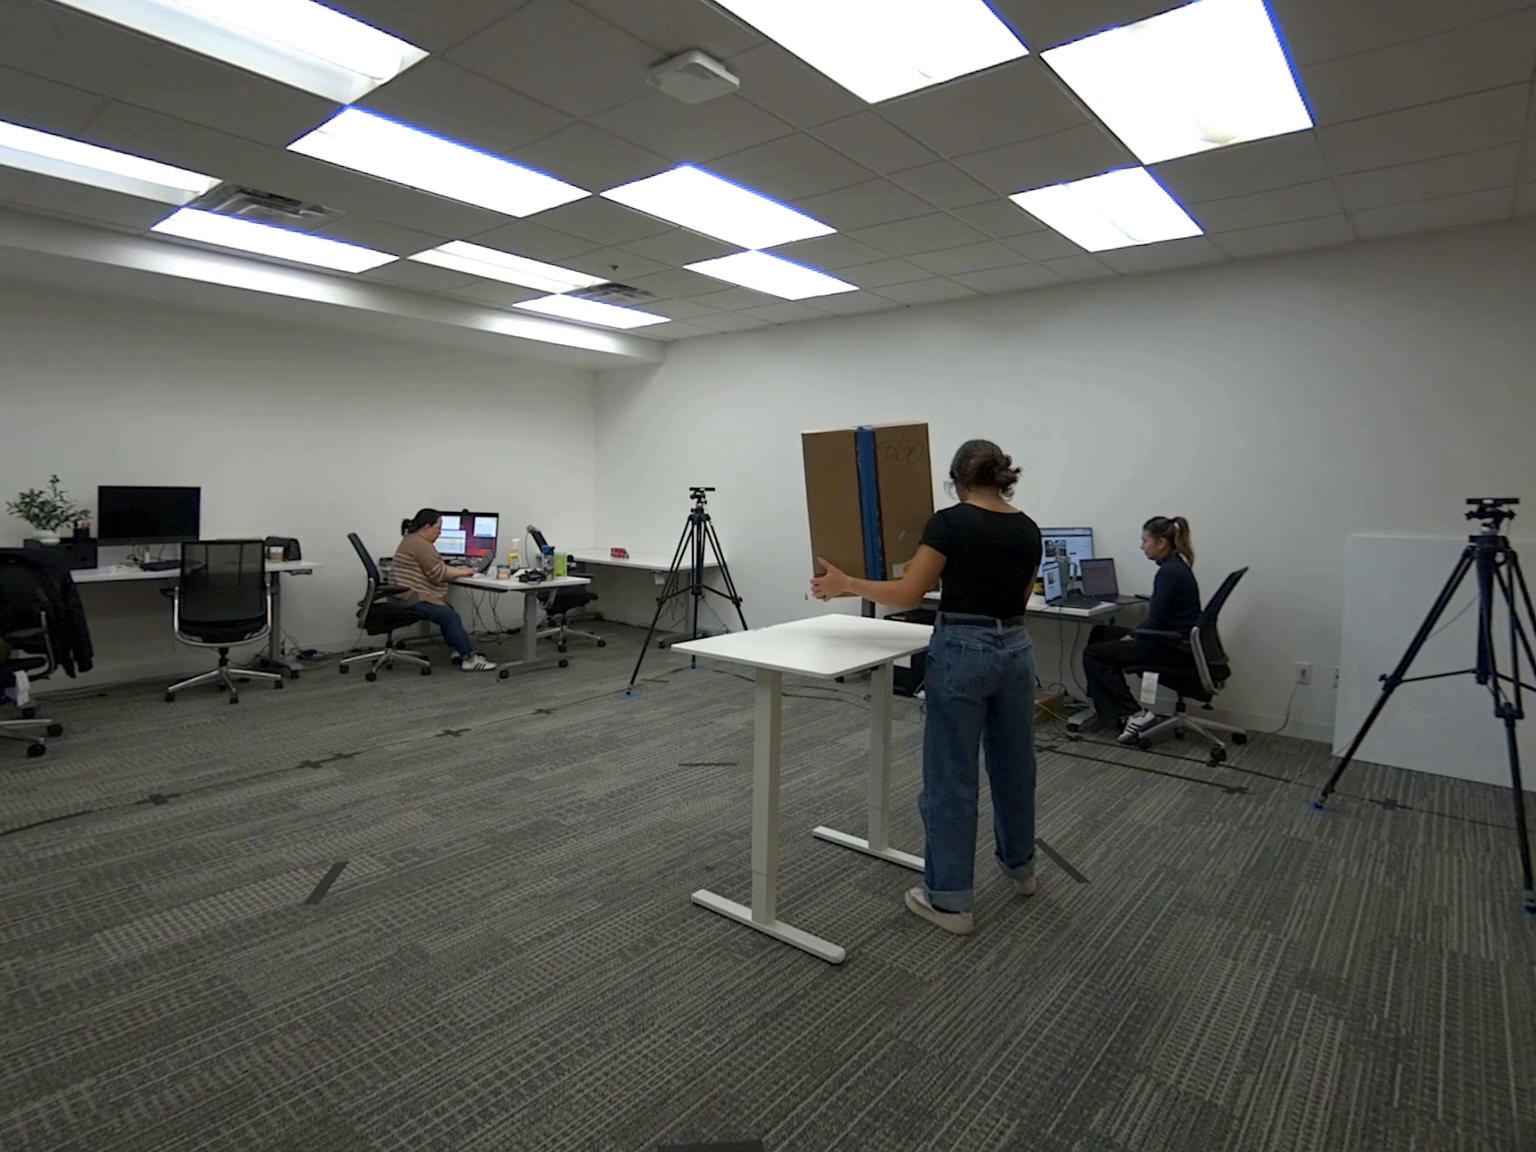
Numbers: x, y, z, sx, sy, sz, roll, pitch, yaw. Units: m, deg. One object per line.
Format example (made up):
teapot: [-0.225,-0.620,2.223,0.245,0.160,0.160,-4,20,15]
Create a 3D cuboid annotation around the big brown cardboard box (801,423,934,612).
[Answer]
big brown cardboard box: [0.346,-0.234,2.938,0.420,0.584,0.234,-5,9,6]
